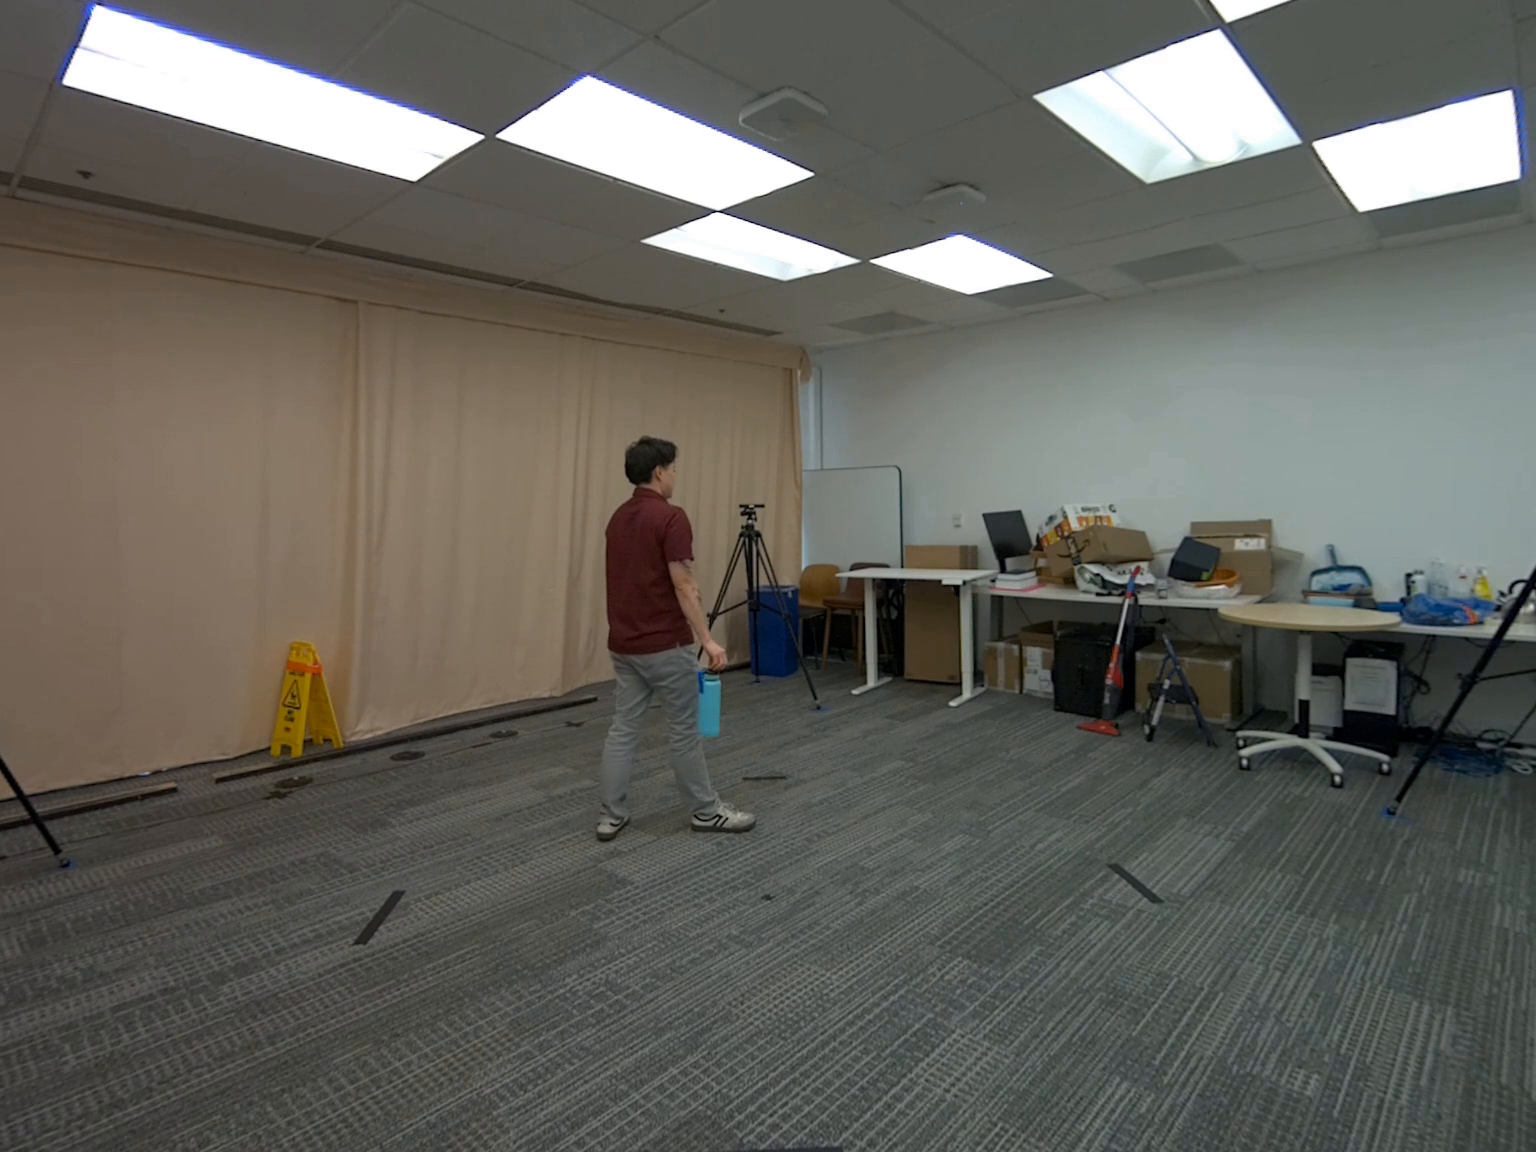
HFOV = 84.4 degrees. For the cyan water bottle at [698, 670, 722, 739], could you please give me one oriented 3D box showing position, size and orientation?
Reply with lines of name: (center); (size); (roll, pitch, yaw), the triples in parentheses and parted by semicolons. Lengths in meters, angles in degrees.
cyan water bottle: (-0.234, 0.499, 3.431); (0.092, 0.282, 0.093); (1, 8, -2)
